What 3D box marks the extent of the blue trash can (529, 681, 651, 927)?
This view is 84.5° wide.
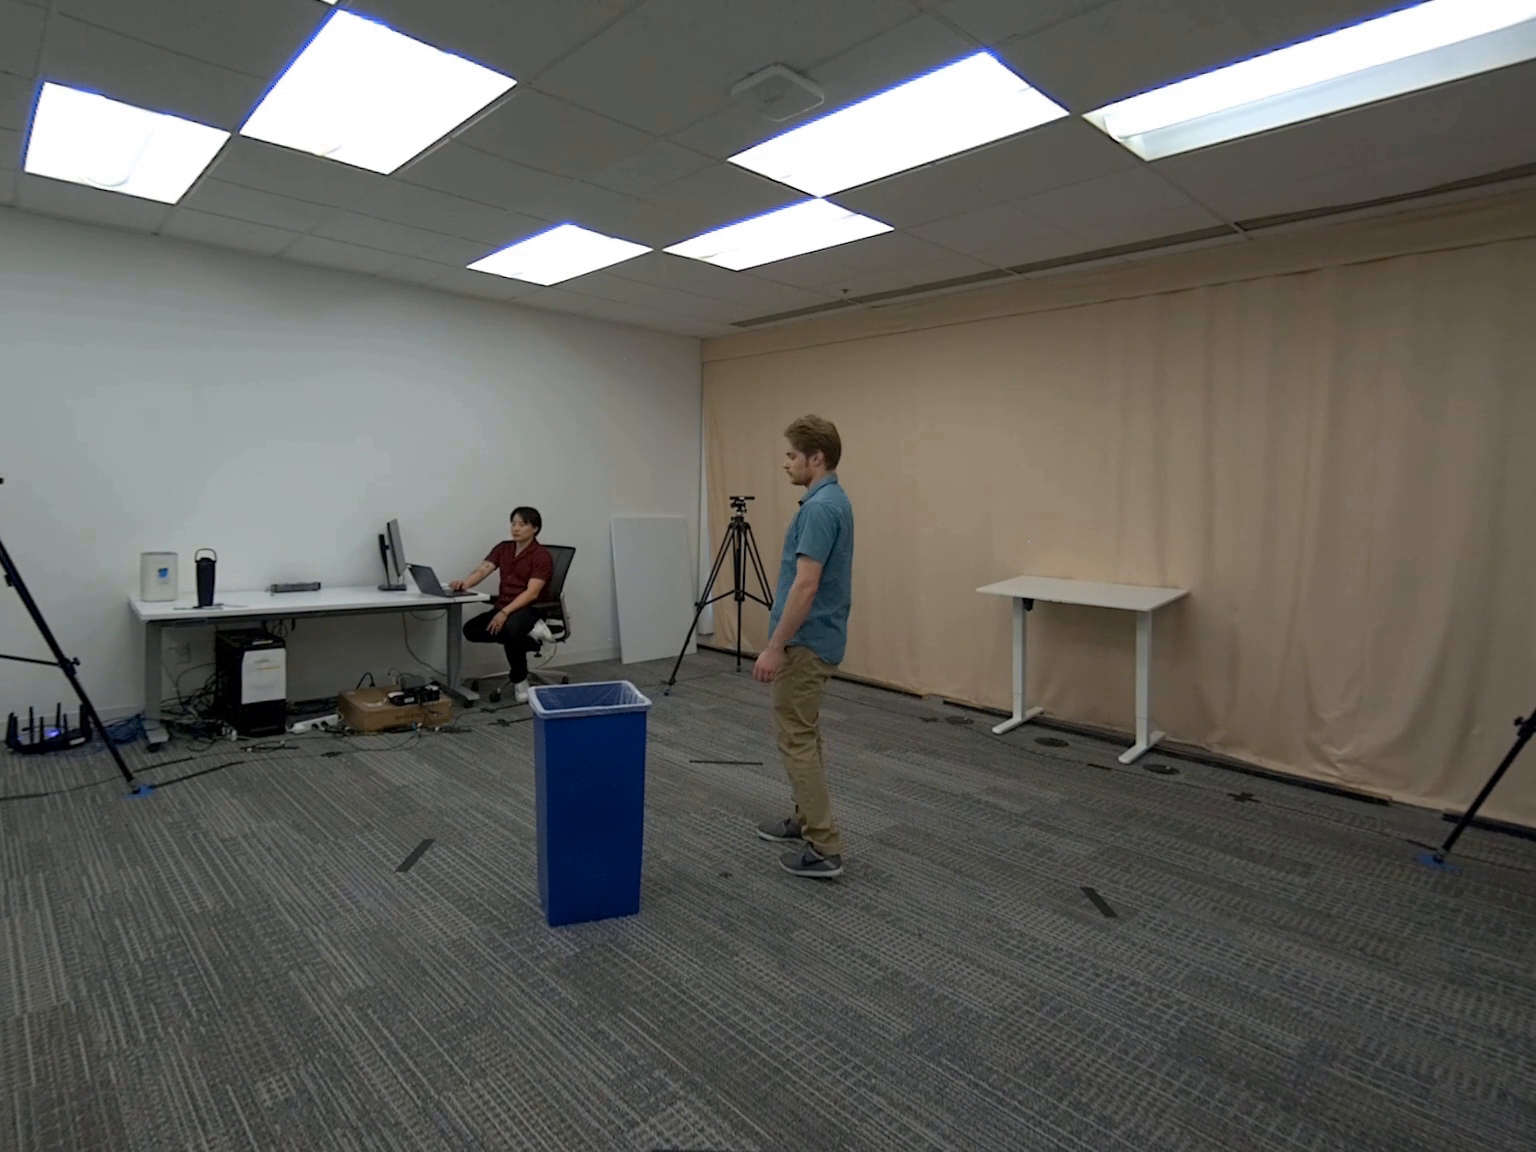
[{"bbox_3d":[-0.626,0.759,2.864,0.368,0.712,0.385,0,3,-22],"label":"blue trash can"}]
